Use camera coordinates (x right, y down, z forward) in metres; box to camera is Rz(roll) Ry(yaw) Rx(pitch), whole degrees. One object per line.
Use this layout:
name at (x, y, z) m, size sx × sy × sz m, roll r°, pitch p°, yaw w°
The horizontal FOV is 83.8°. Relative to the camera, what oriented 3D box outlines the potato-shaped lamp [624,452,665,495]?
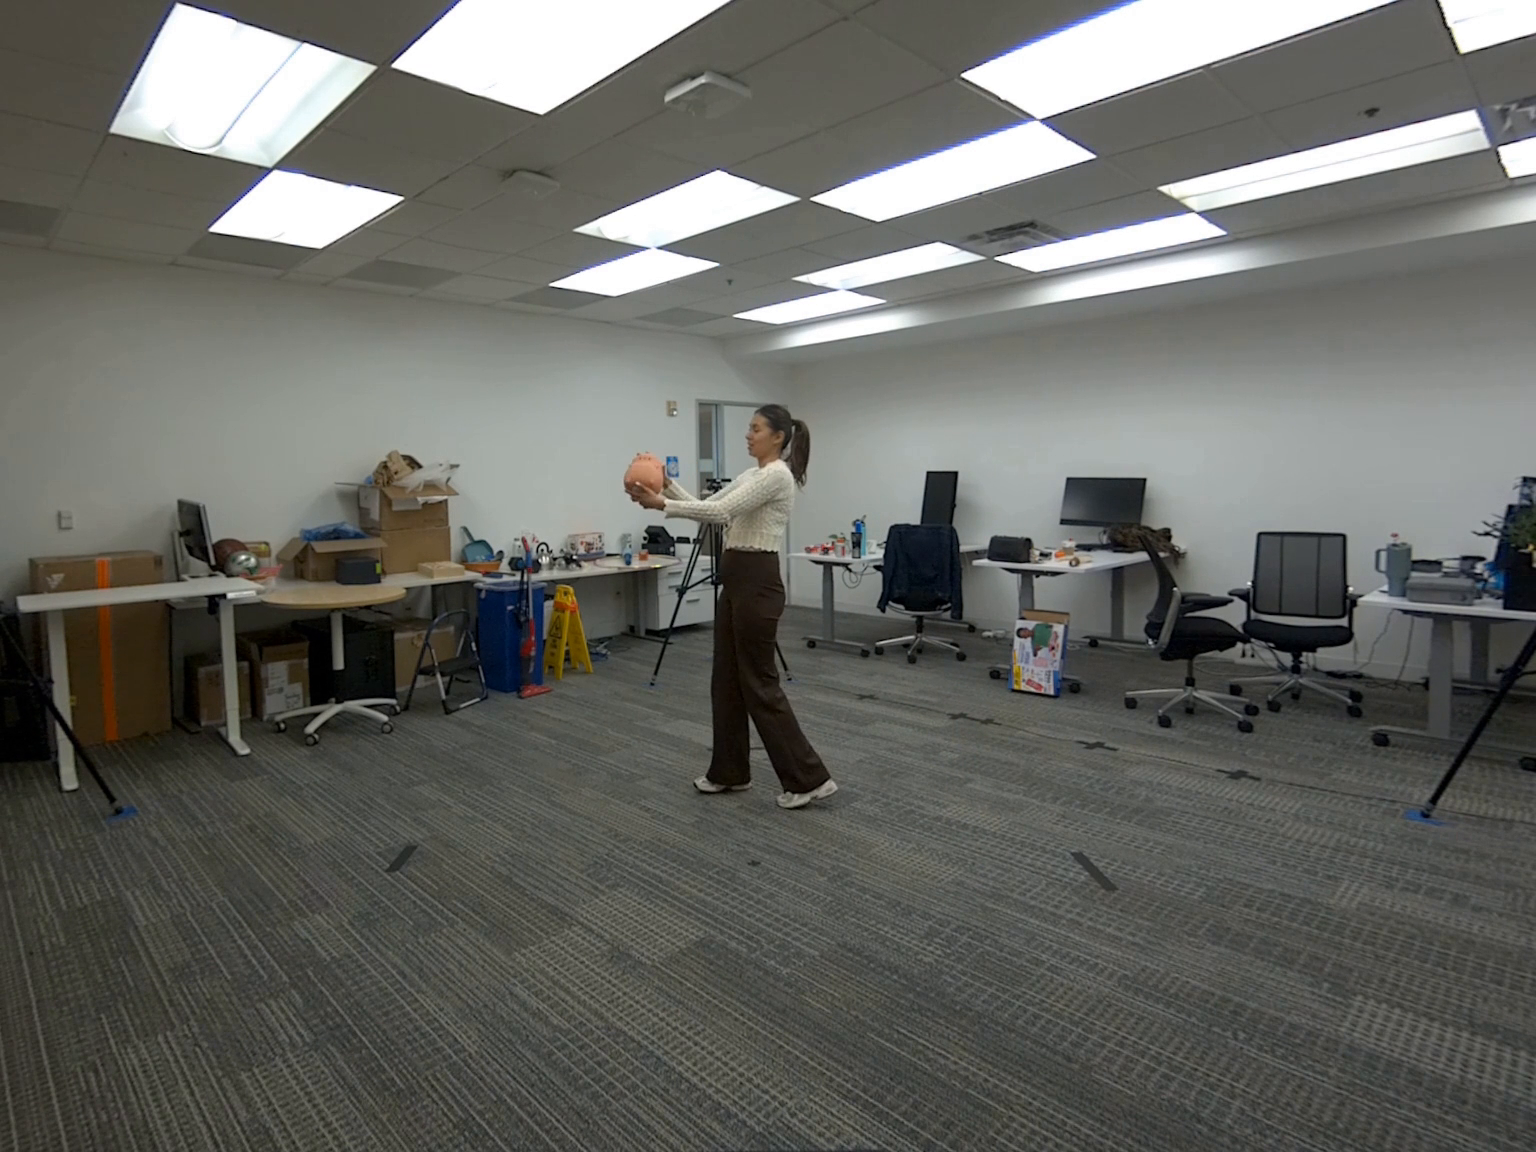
potato-shaped lamp at (-0.528, -0.434, 3.642) m, size 0.165 × 0.202 × 0.167 m, roll 2°, pitch -31°, yaw 4°
